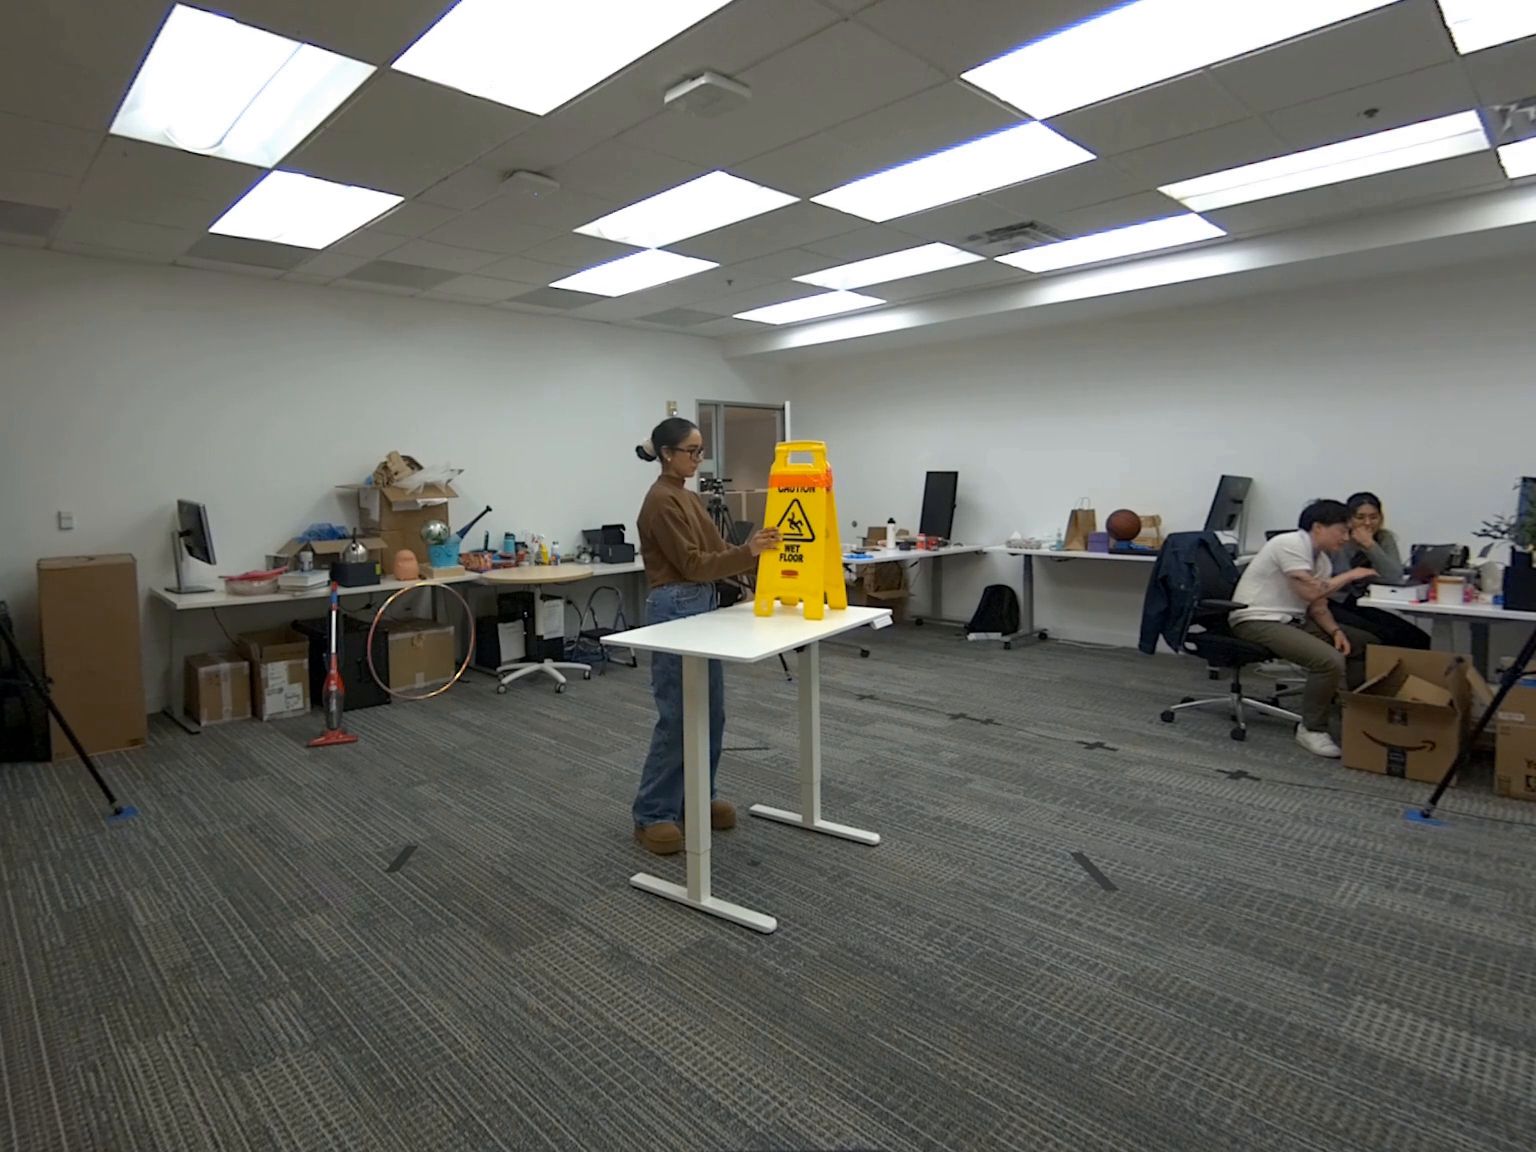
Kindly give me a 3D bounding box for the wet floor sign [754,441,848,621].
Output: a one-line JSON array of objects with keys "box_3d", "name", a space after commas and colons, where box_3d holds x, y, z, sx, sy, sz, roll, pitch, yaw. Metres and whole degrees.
[{"box_3d": [0.130, -0.183, 3.244, 0.289, 0.643, 0.284, 3, 5, 25], "name": "wet floor sign"}]
